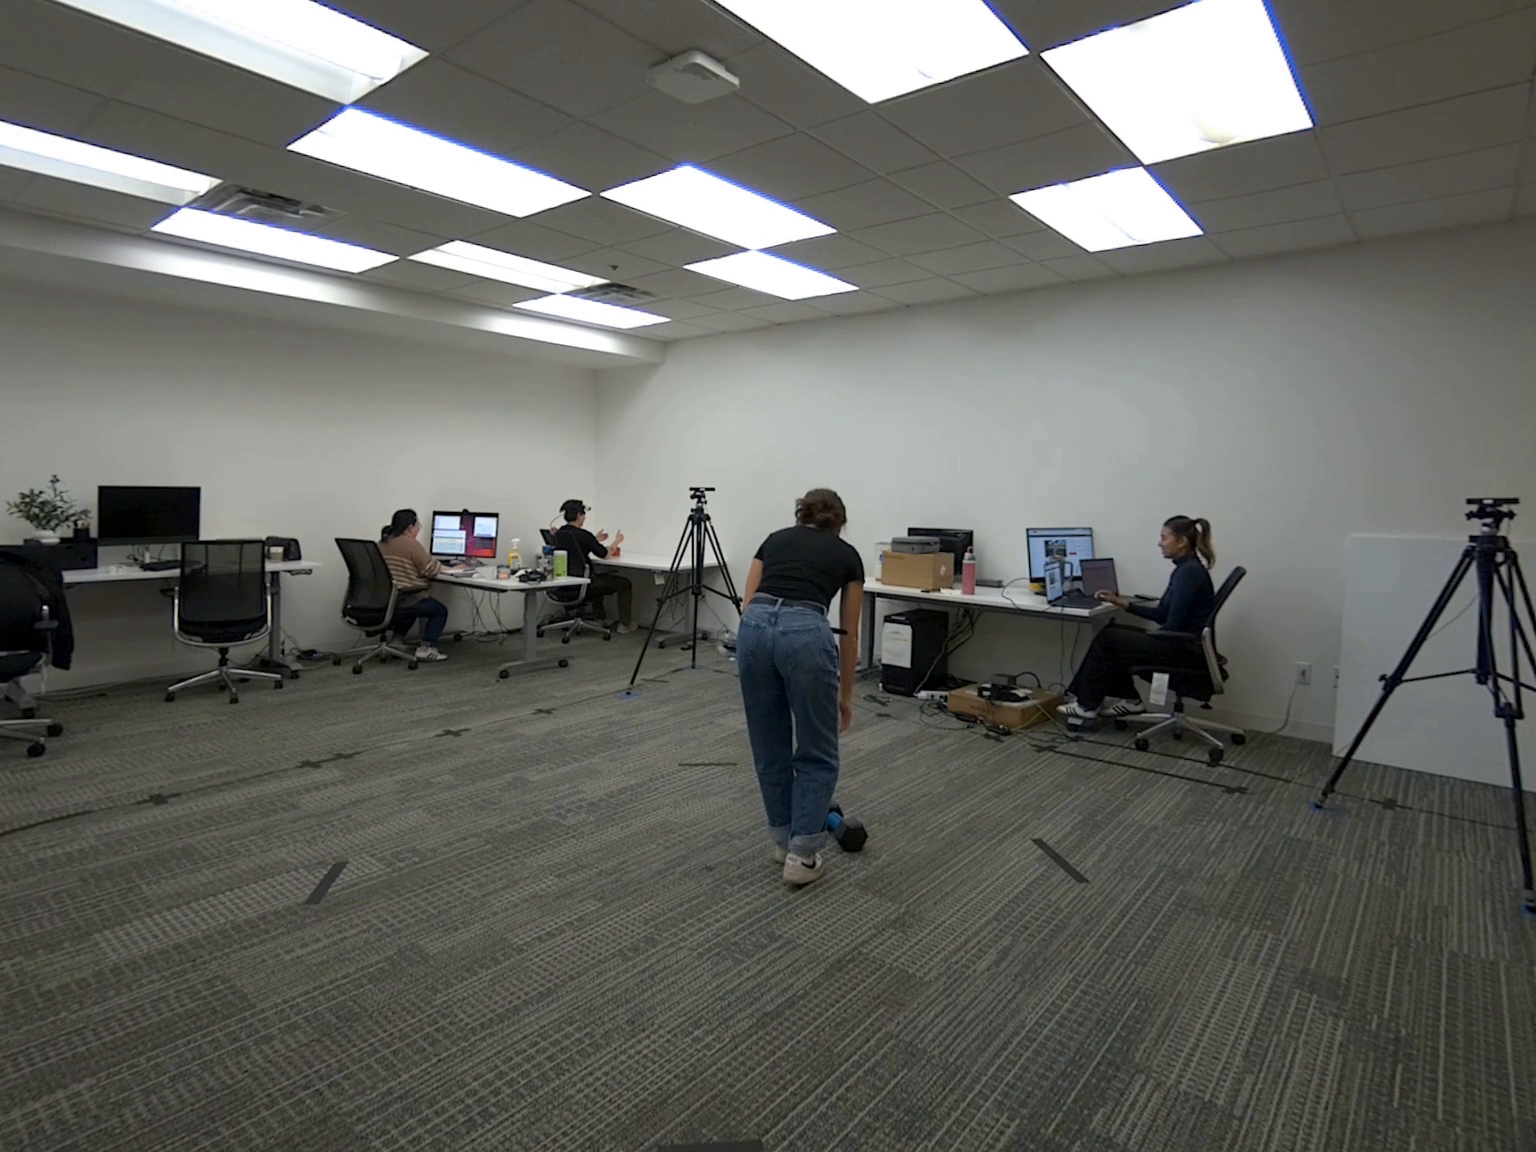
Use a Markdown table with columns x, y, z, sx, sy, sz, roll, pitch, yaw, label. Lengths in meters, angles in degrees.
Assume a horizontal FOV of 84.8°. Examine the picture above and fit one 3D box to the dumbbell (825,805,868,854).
| x | y | z | sx | sy | sz | roll | pitch | yaw | label |
| --- | --- | --- | --- | --- | --- | --- | --- | --- | --- |
| 0.278 | 0.993 | 3.414 | 0.106 | 0.123 | 0.300 | 32 | -6 | -20 | dumbbell |
